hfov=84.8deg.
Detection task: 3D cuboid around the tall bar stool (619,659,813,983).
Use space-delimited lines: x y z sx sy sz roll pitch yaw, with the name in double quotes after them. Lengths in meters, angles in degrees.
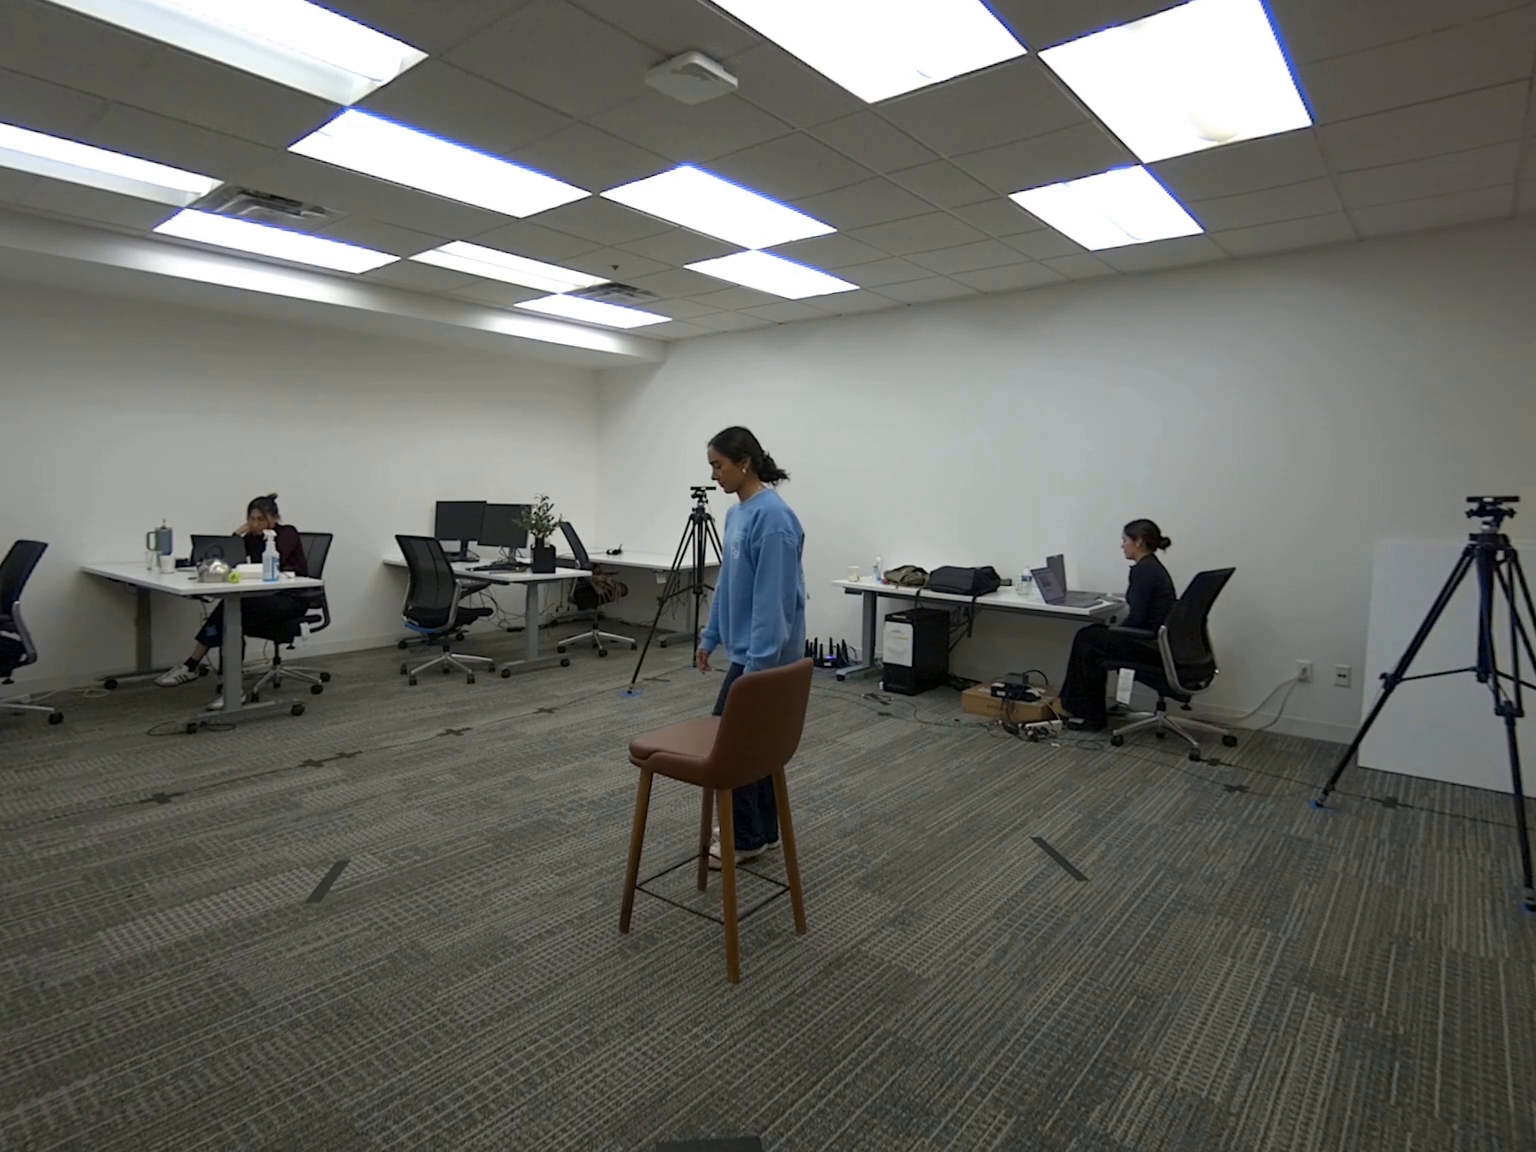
-0.162 0.675 2.636 0.483 0.886 0.443 6 6 37 "tall bar stool"
